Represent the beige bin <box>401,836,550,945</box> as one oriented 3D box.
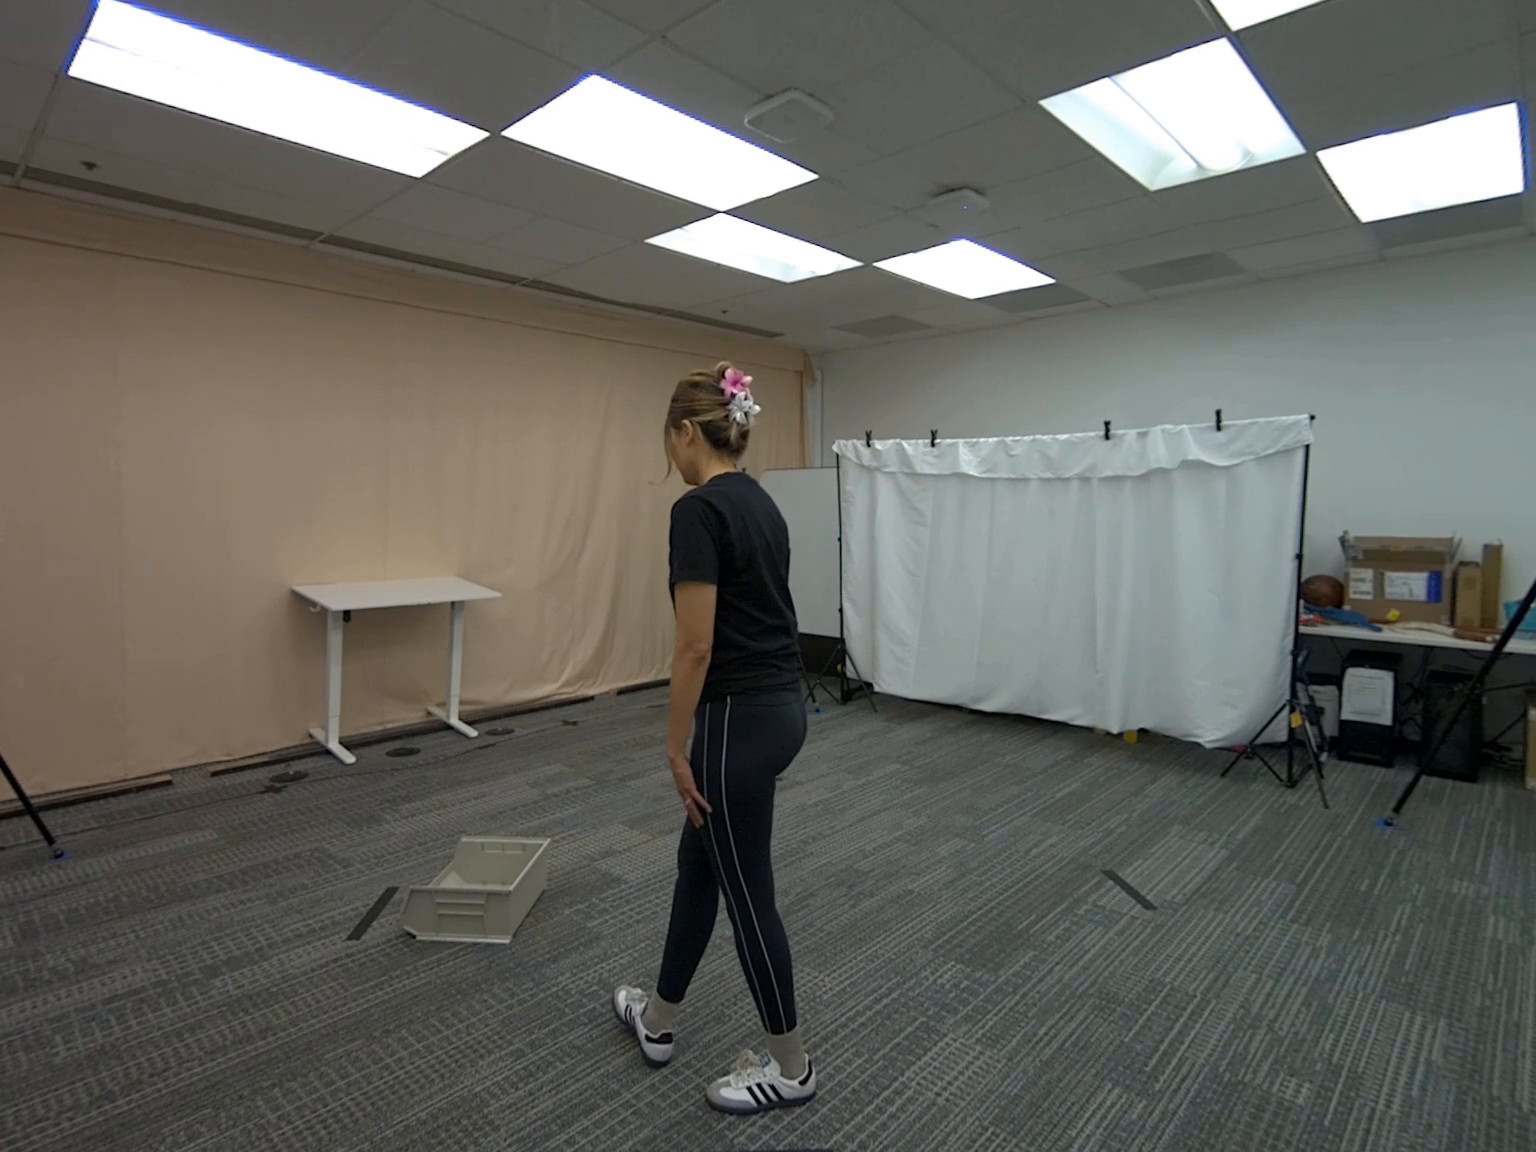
[{"bbox_3d":[-0.999,1.070,2.899,0.379,0.188,0.421,1,4,4],"label":"beige bin"}]
